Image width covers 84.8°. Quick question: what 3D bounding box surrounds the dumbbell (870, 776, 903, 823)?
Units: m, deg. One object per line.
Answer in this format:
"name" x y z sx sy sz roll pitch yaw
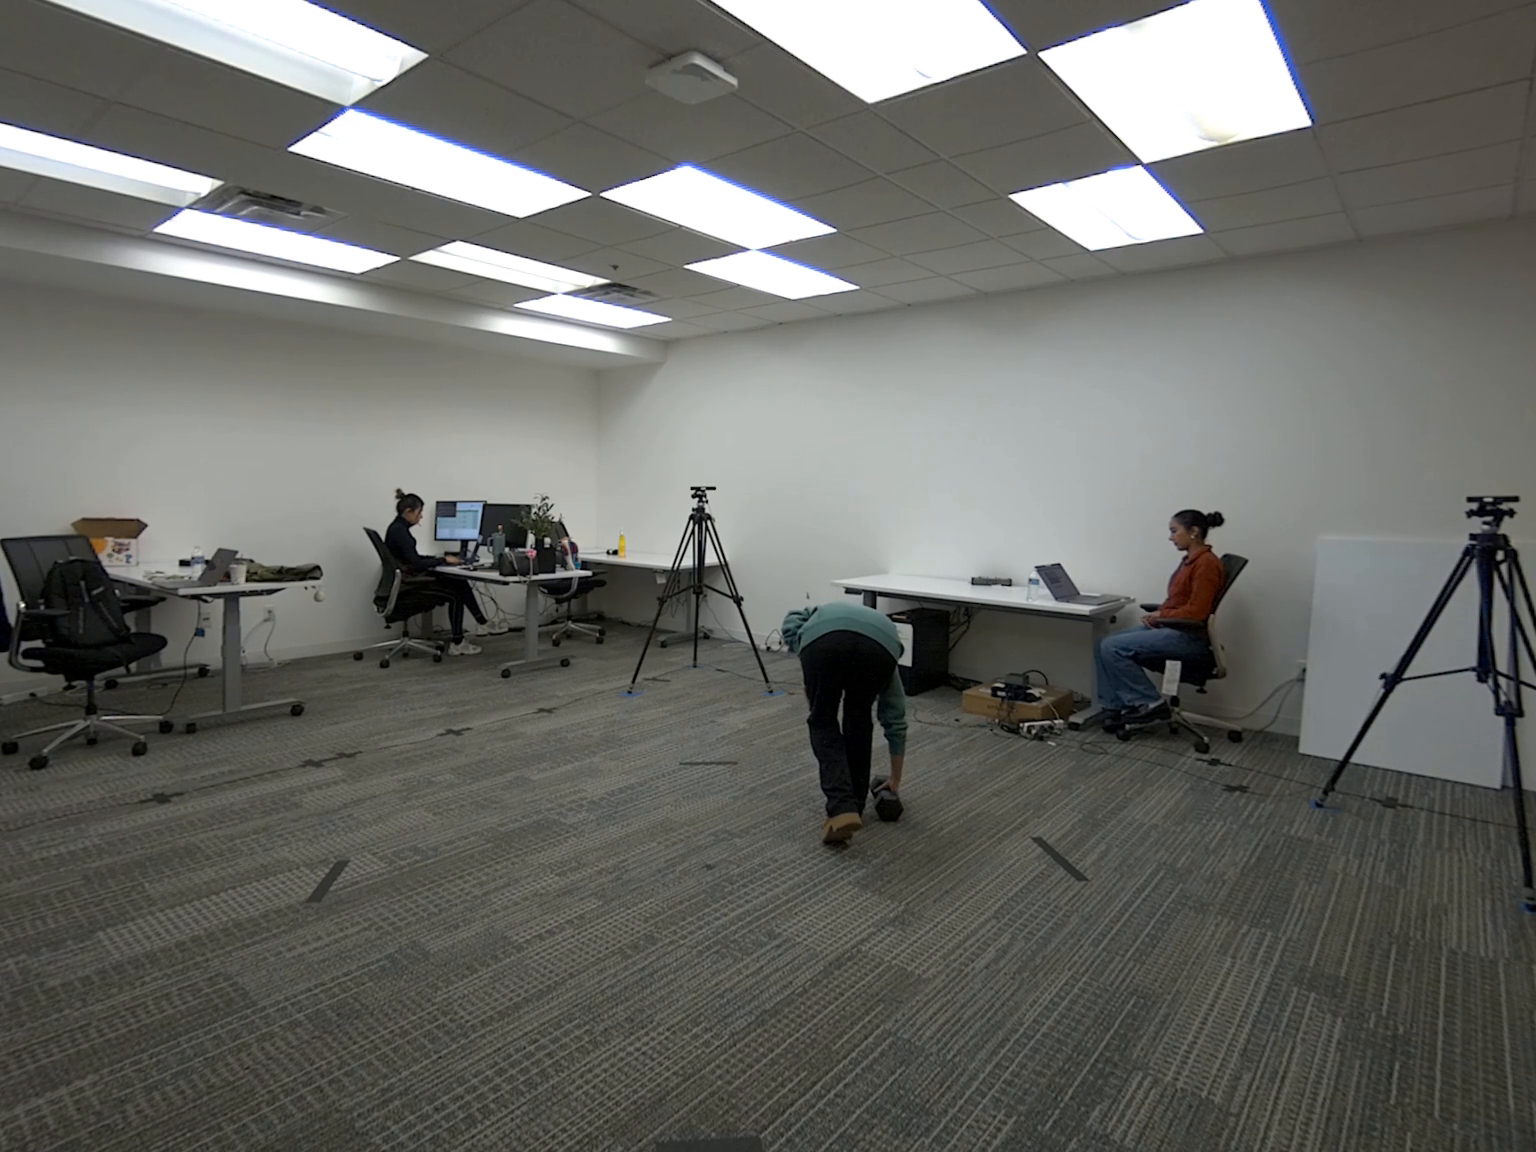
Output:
"dumbbell" 0.508 0.963 3.721 0.109 0.123 0.294 30 6 -2
